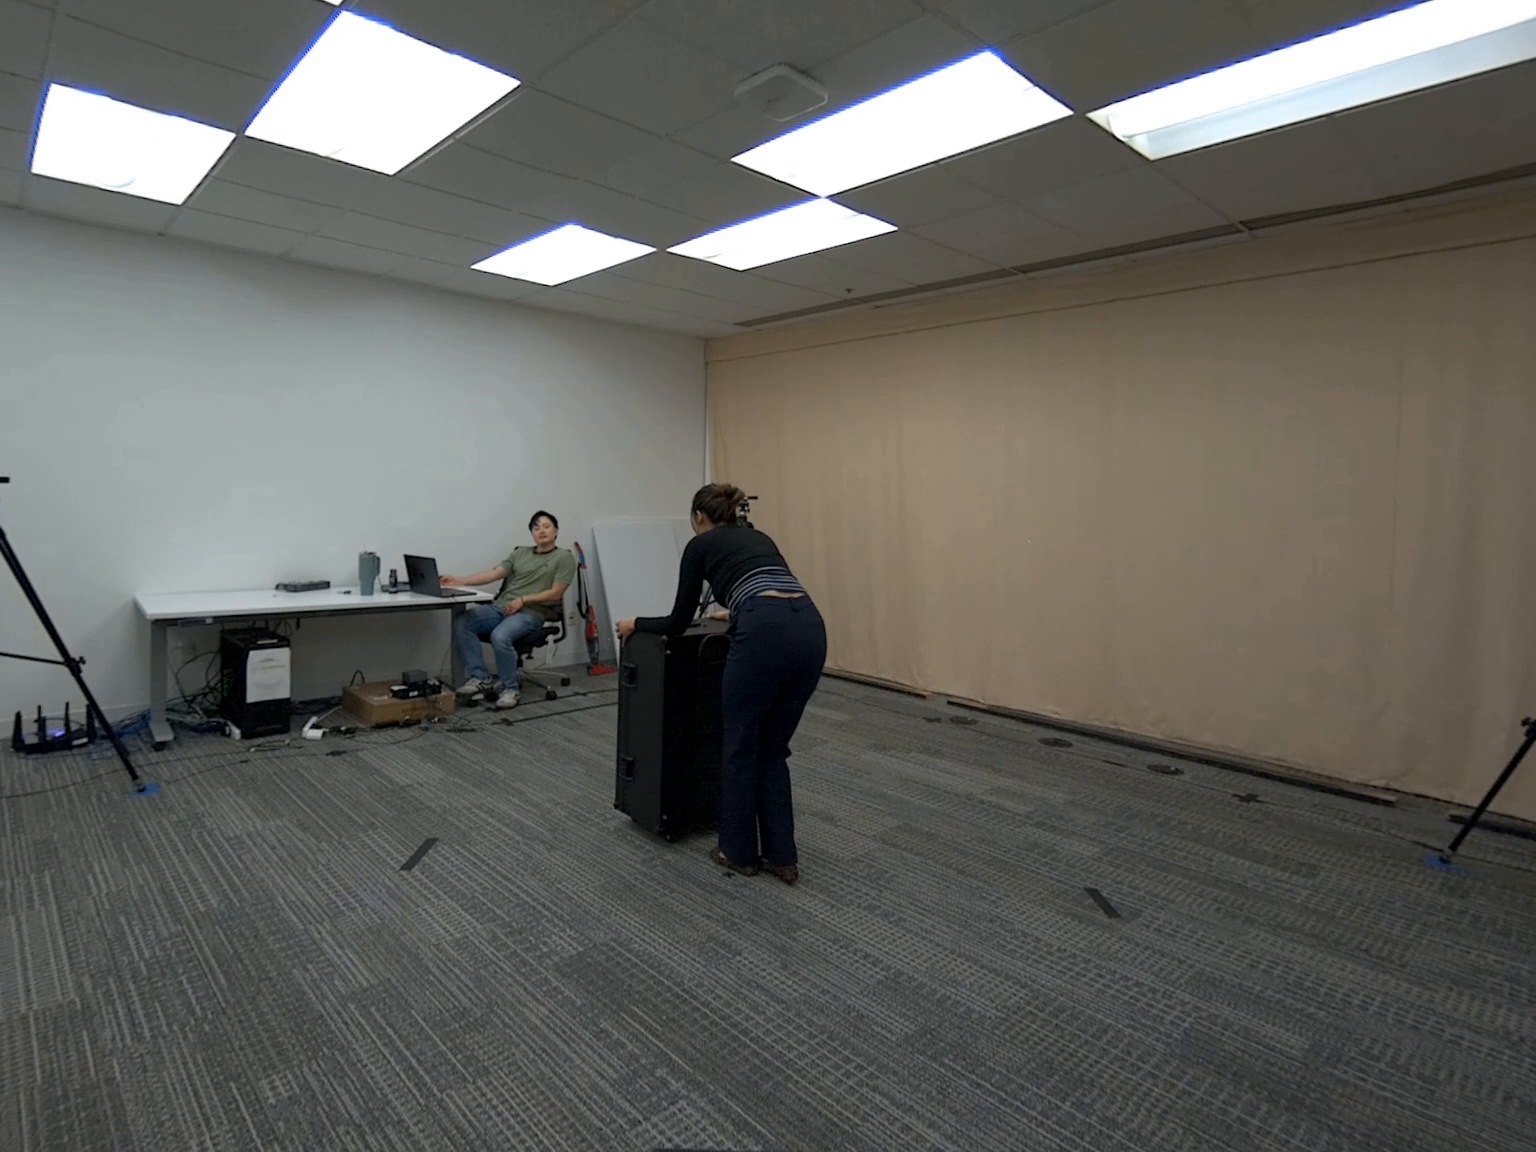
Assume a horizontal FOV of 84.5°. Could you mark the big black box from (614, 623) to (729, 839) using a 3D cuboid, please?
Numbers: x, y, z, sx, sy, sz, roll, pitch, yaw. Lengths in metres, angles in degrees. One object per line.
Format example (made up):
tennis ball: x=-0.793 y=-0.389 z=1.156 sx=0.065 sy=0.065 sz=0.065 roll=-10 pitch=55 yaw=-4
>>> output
big black box: x=-0.336 y=0.636 z=3.537 sx=0.509 sy=0.859 sz=0.406 roll=-1 pitch=5 yaw=-38
